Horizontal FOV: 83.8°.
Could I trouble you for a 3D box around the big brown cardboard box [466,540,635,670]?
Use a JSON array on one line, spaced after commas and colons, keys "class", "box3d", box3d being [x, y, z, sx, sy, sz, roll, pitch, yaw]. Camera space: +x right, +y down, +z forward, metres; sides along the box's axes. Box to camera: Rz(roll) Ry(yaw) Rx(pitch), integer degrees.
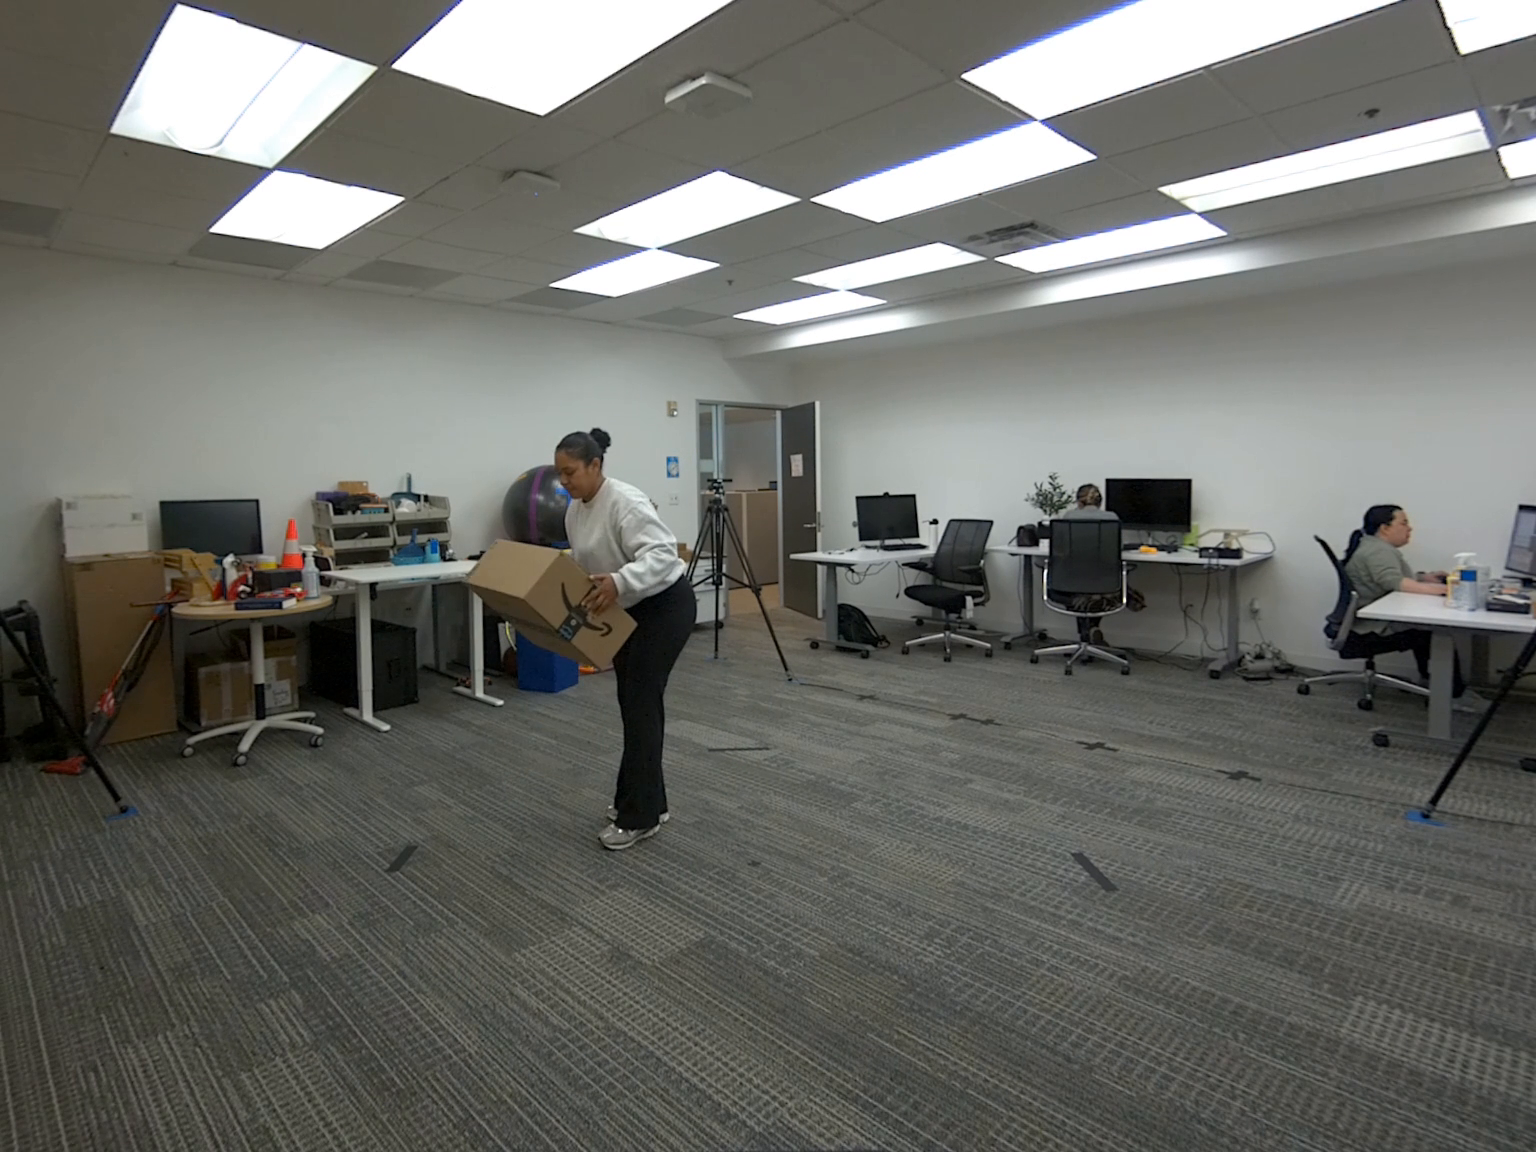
[{"class": "big brown cardboard box", "box3d": [-0.813, 0.101, 3.189, 0.608, 0.234, 0.403, 10, -32, 52]}]
